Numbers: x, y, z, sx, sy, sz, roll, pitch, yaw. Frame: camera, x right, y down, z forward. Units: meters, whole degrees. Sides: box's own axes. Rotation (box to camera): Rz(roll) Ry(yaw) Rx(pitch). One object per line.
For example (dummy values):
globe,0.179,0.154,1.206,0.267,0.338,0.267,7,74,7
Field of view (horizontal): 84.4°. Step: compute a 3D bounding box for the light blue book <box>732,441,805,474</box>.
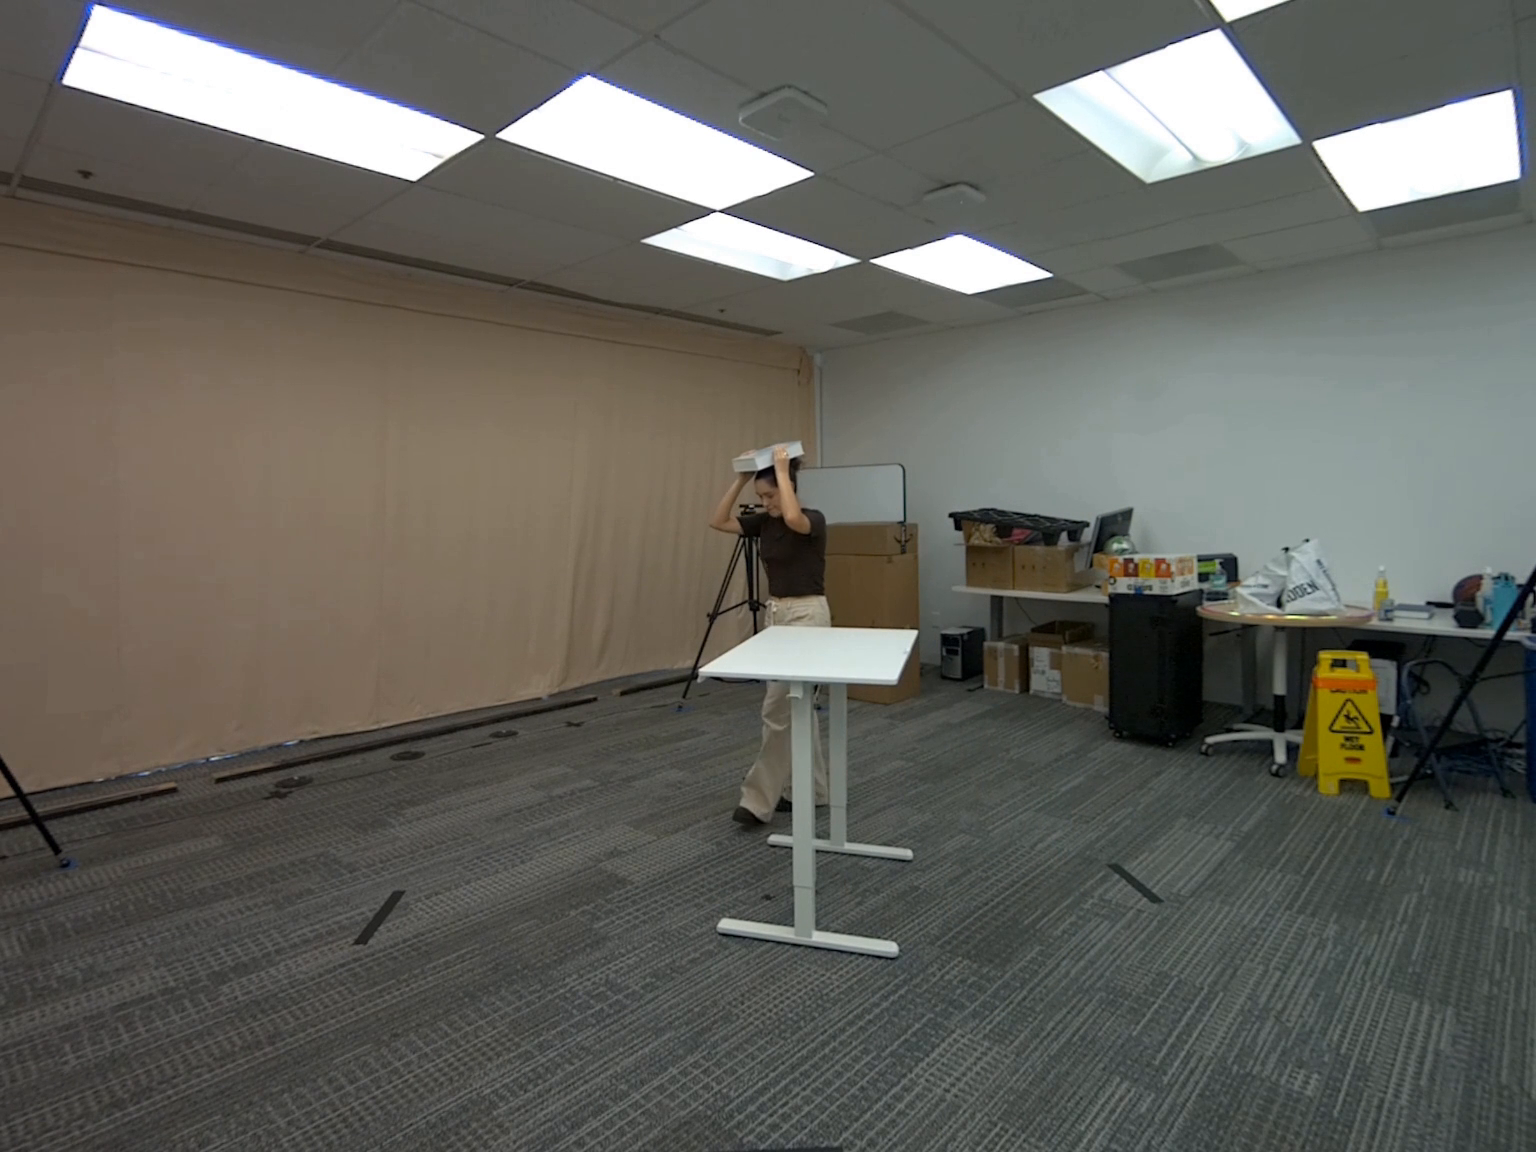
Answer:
light blue book,0.009,-0.523,3.710,0.256,0.058,0.197,-24,17,-30
